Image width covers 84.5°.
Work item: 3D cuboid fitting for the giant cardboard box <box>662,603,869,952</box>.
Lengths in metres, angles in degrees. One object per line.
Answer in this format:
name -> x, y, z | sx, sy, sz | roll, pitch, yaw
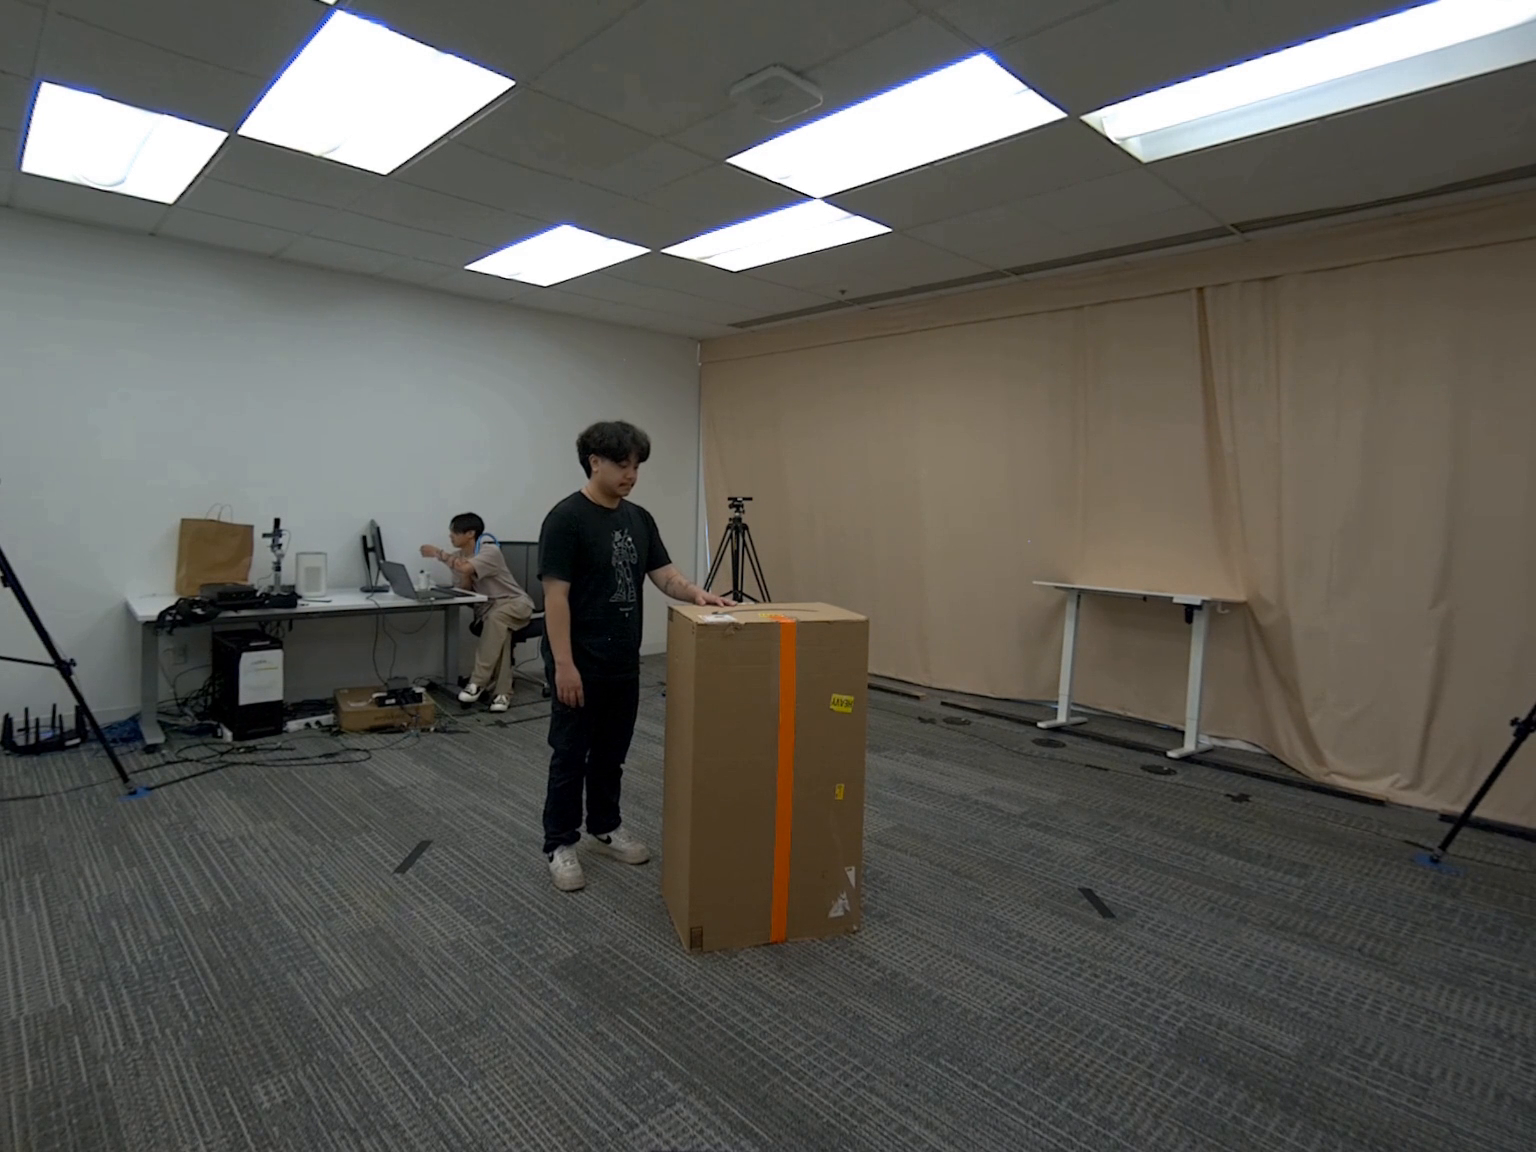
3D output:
giant cardboard box -> -0.031, 0.625, 2.812 | 0.576, 1.024, 0.454 | 0, 4, -17
